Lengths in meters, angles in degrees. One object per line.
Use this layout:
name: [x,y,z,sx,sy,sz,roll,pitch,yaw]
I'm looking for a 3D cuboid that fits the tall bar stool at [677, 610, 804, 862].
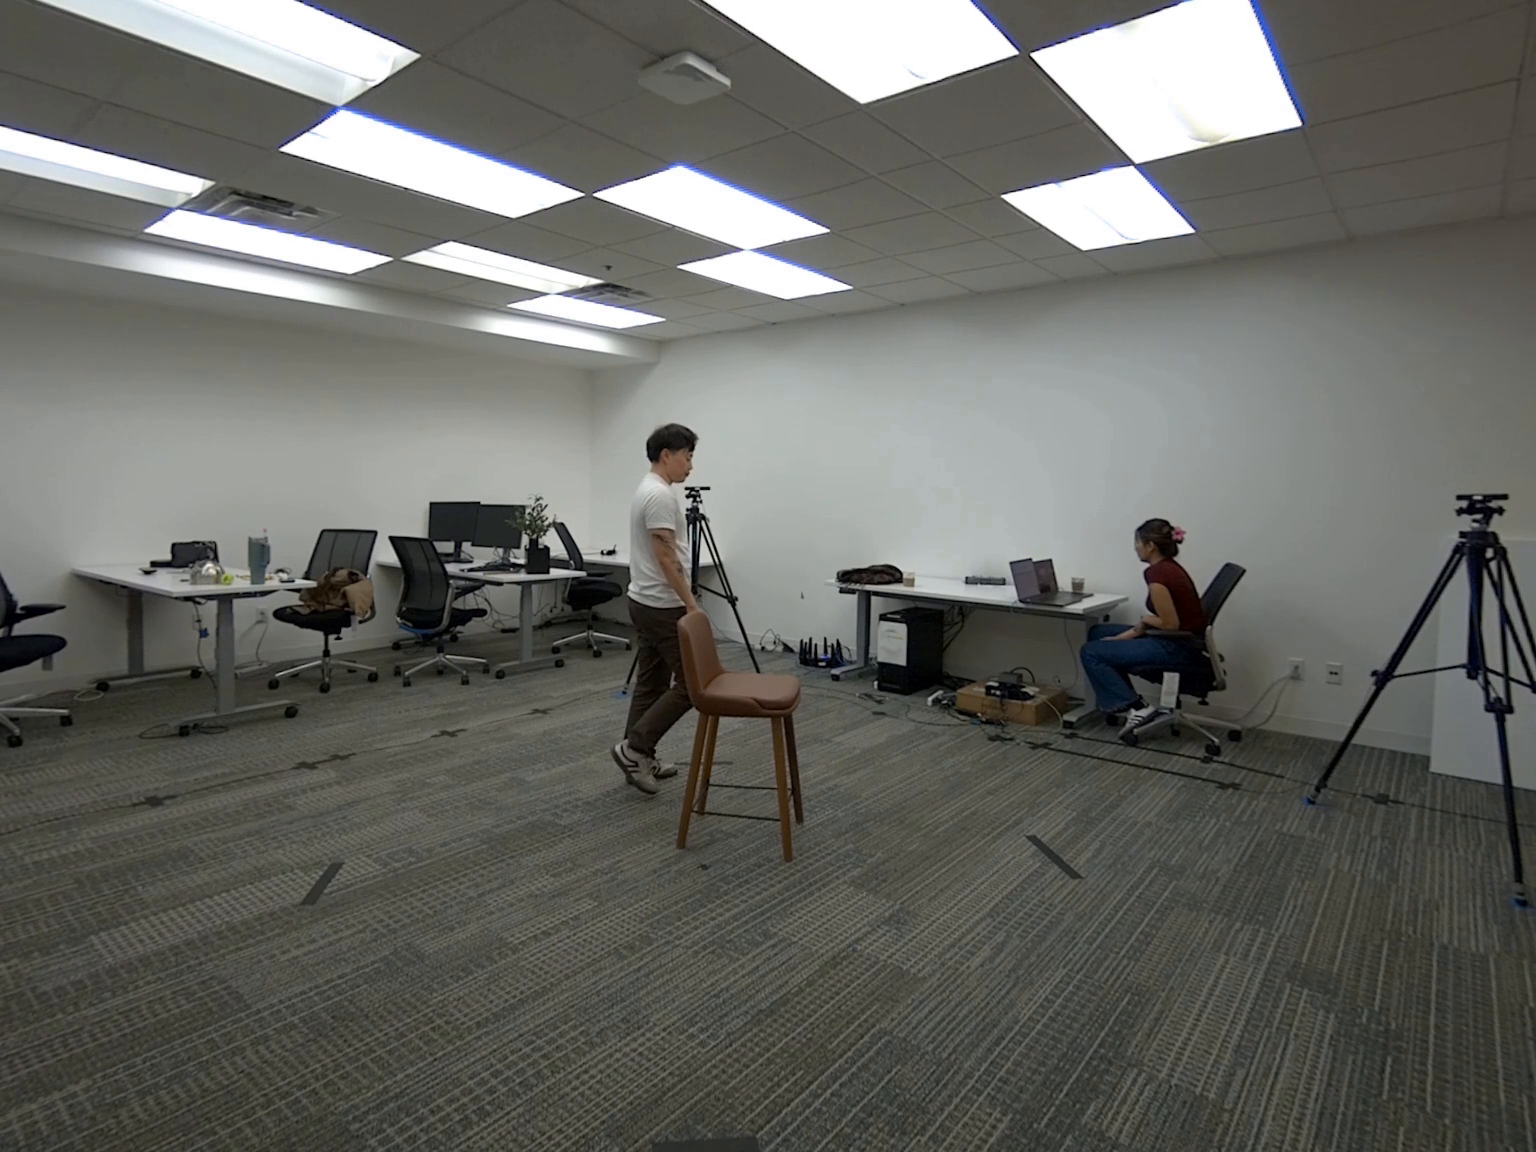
tall bar stool: [-0.112,0.604,3.398,0.474,0.888,0.452,0,3,11]
